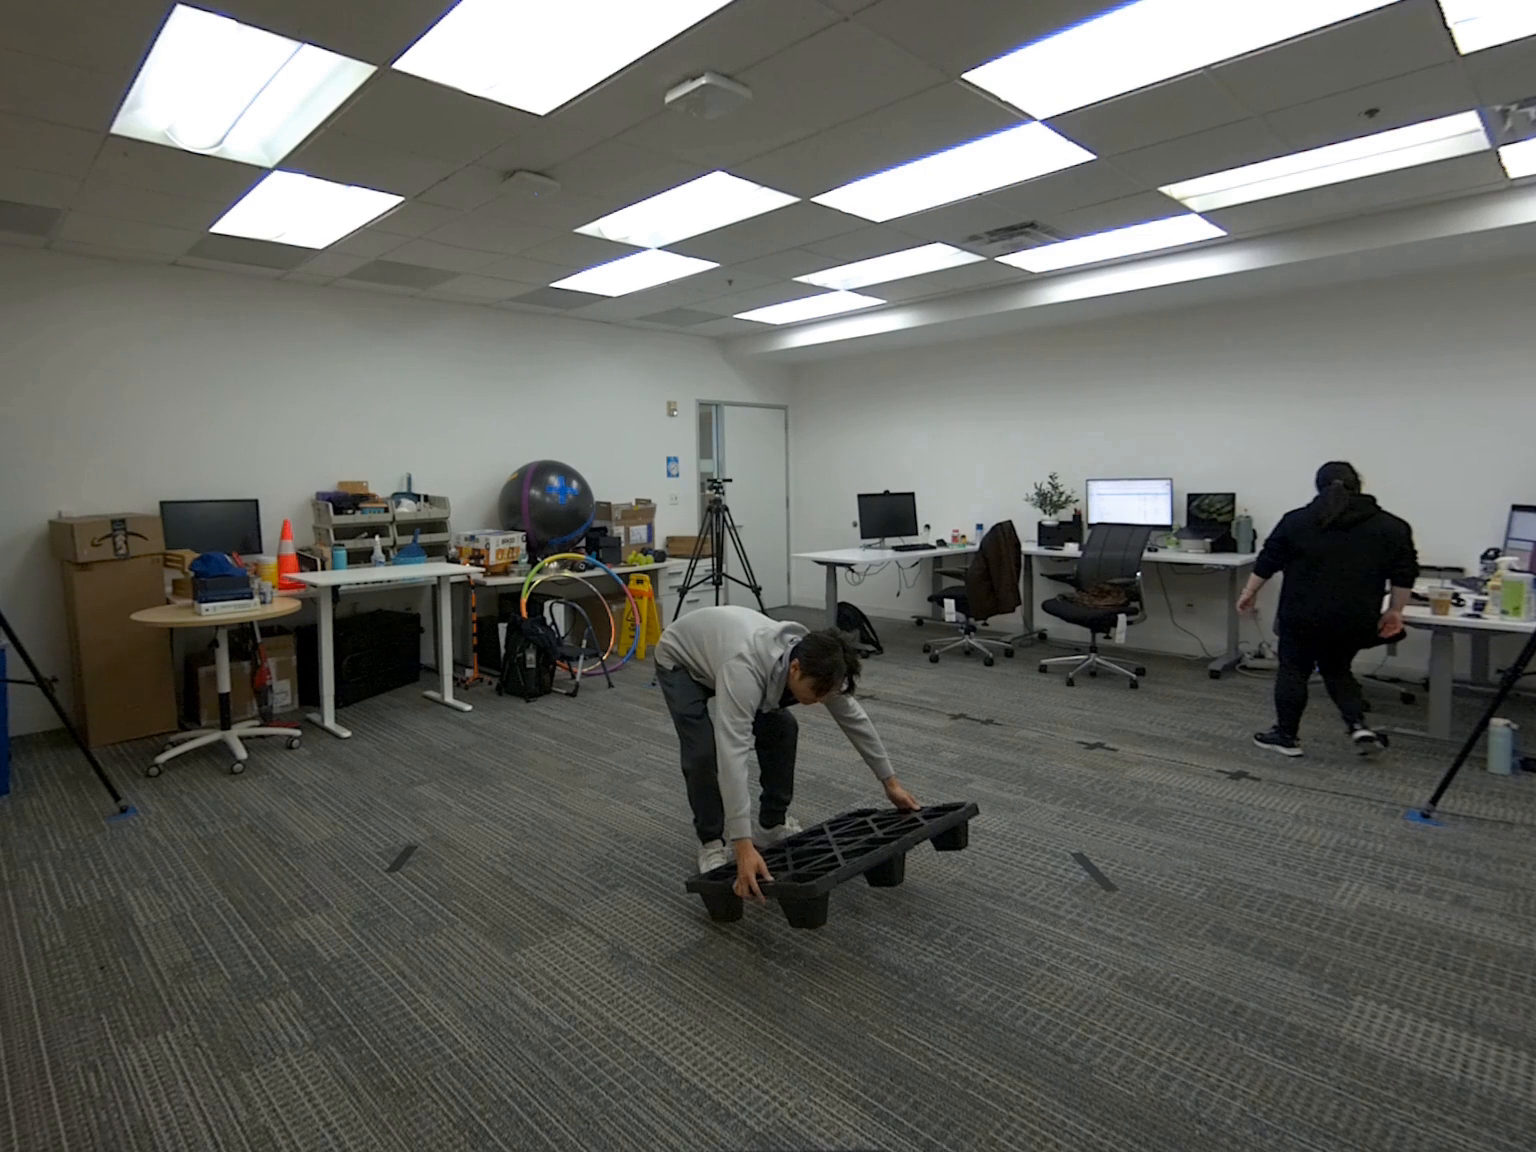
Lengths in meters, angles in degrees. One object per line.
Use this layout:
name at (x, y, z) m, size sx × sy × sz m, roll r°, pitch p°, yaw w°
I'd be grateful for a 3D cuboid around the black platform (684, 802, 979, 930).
black platform at (0.236, 0.917, 2.731) m, size 0.785 × 0.145 × 0.615 m, roll -8°, pitch -9°, yaw -41°
